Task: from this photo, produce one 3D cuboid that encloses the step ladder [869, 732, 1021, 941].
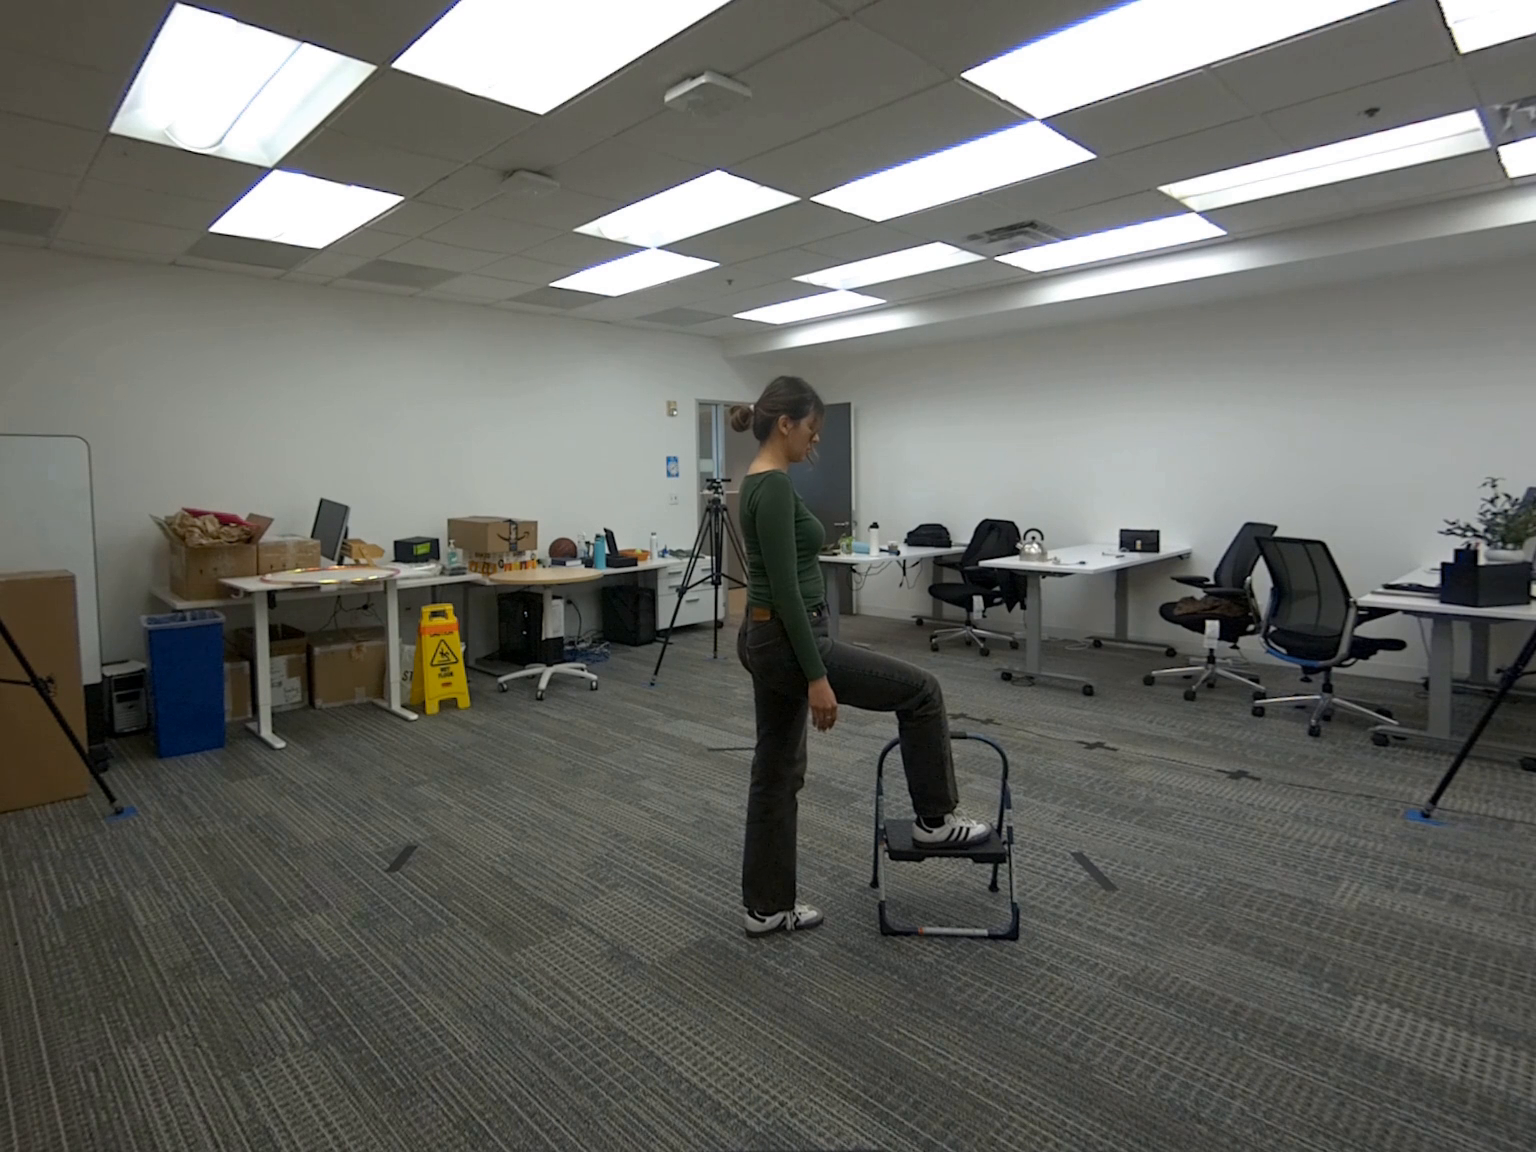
[{"bbox_3d":[0.556,0.779,2.731,0.433,0.604,0.349,0,3,4],"label":"step ladder"}]
